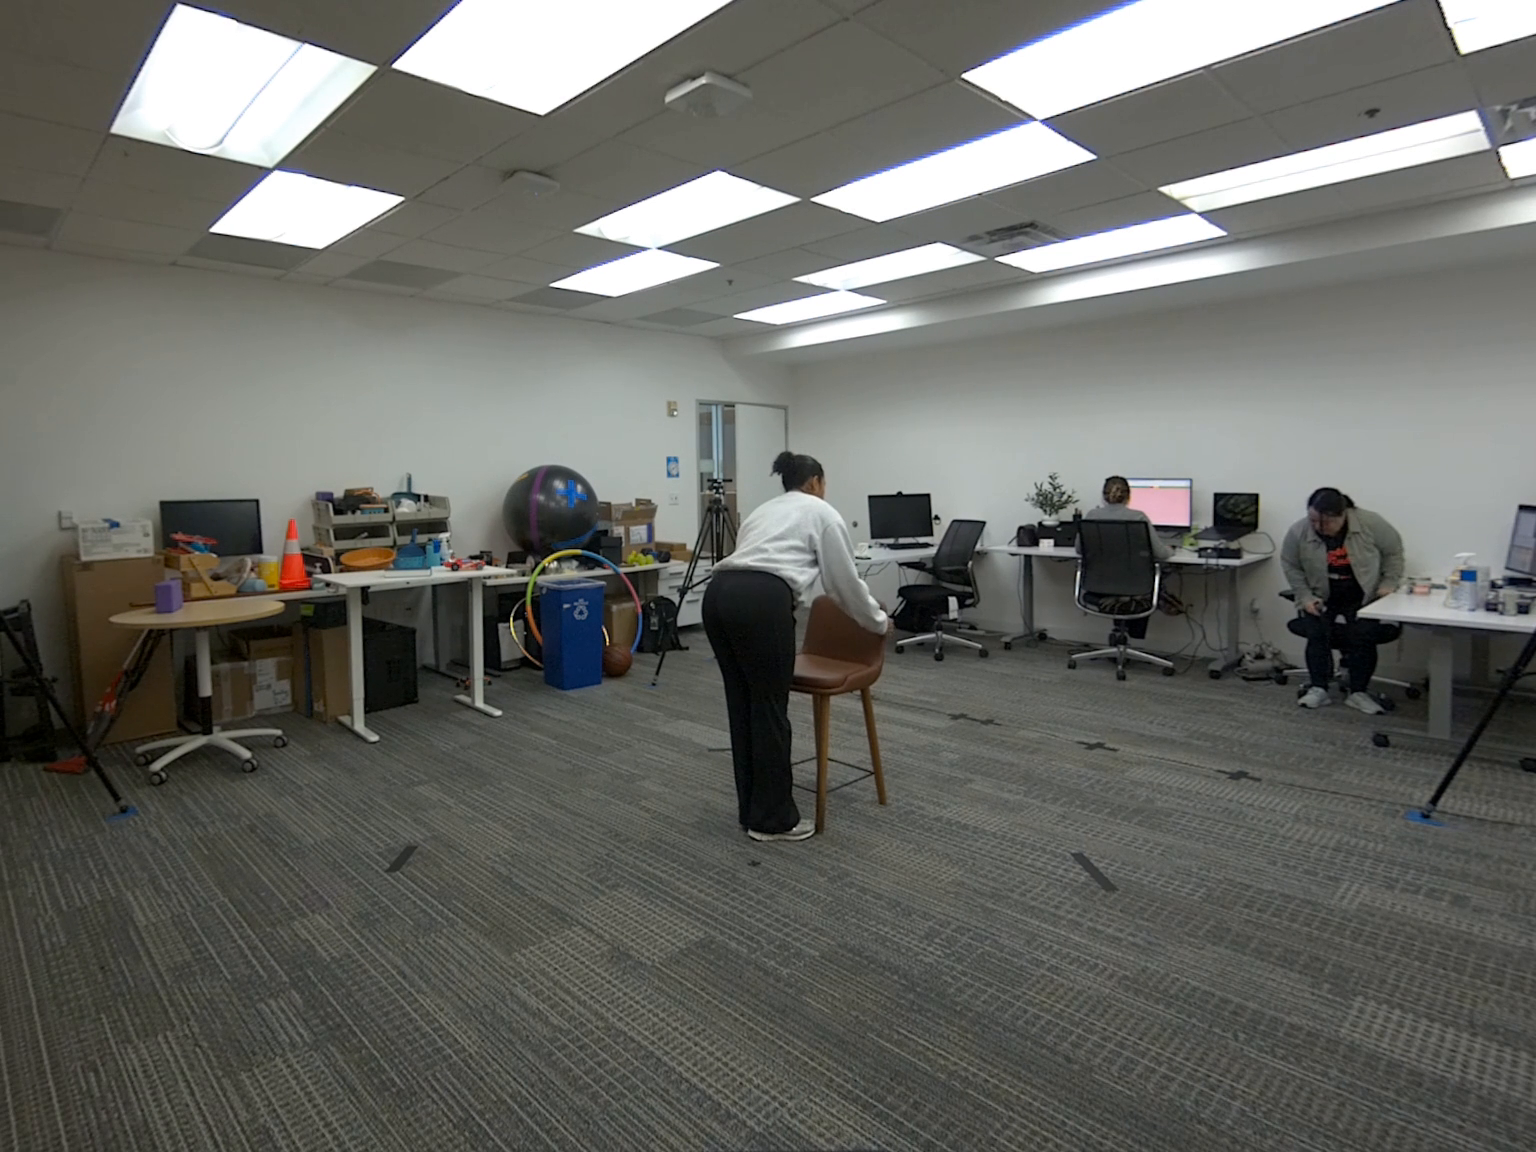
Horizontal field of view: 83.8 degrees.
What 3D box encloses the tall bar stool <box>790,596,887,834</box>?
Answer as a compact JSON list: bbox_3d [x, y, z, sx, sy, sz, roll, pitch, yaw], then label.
[{"bbox_3d":[0.223,0.543,3.632,0.454,0.888,0.470,-2,4,-43],"label":"tall bar stool"}]
